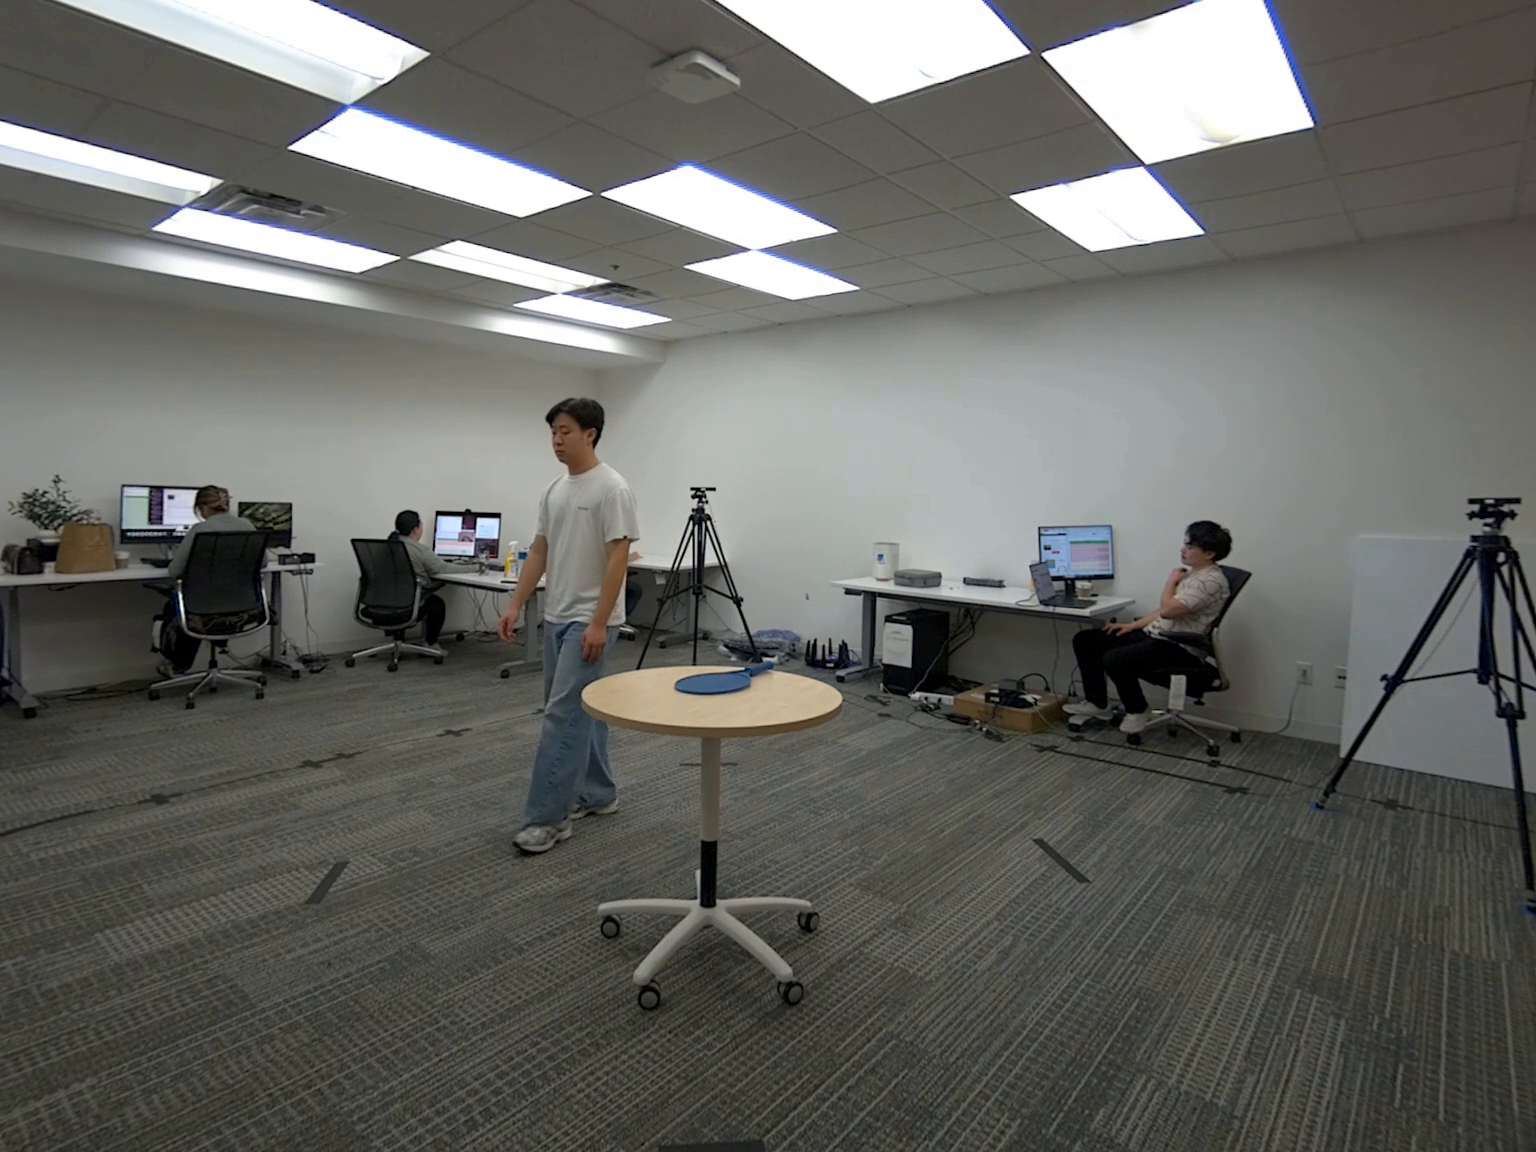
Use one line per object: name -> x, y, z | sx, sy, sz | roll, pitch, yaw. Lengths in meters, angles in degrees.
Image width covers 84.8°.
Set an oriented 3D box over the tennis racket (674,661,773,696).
tennis racket -> -0.125, 0.320, 2.667 | 0.221, 0.031, 0.421 | 5, 9, 38
